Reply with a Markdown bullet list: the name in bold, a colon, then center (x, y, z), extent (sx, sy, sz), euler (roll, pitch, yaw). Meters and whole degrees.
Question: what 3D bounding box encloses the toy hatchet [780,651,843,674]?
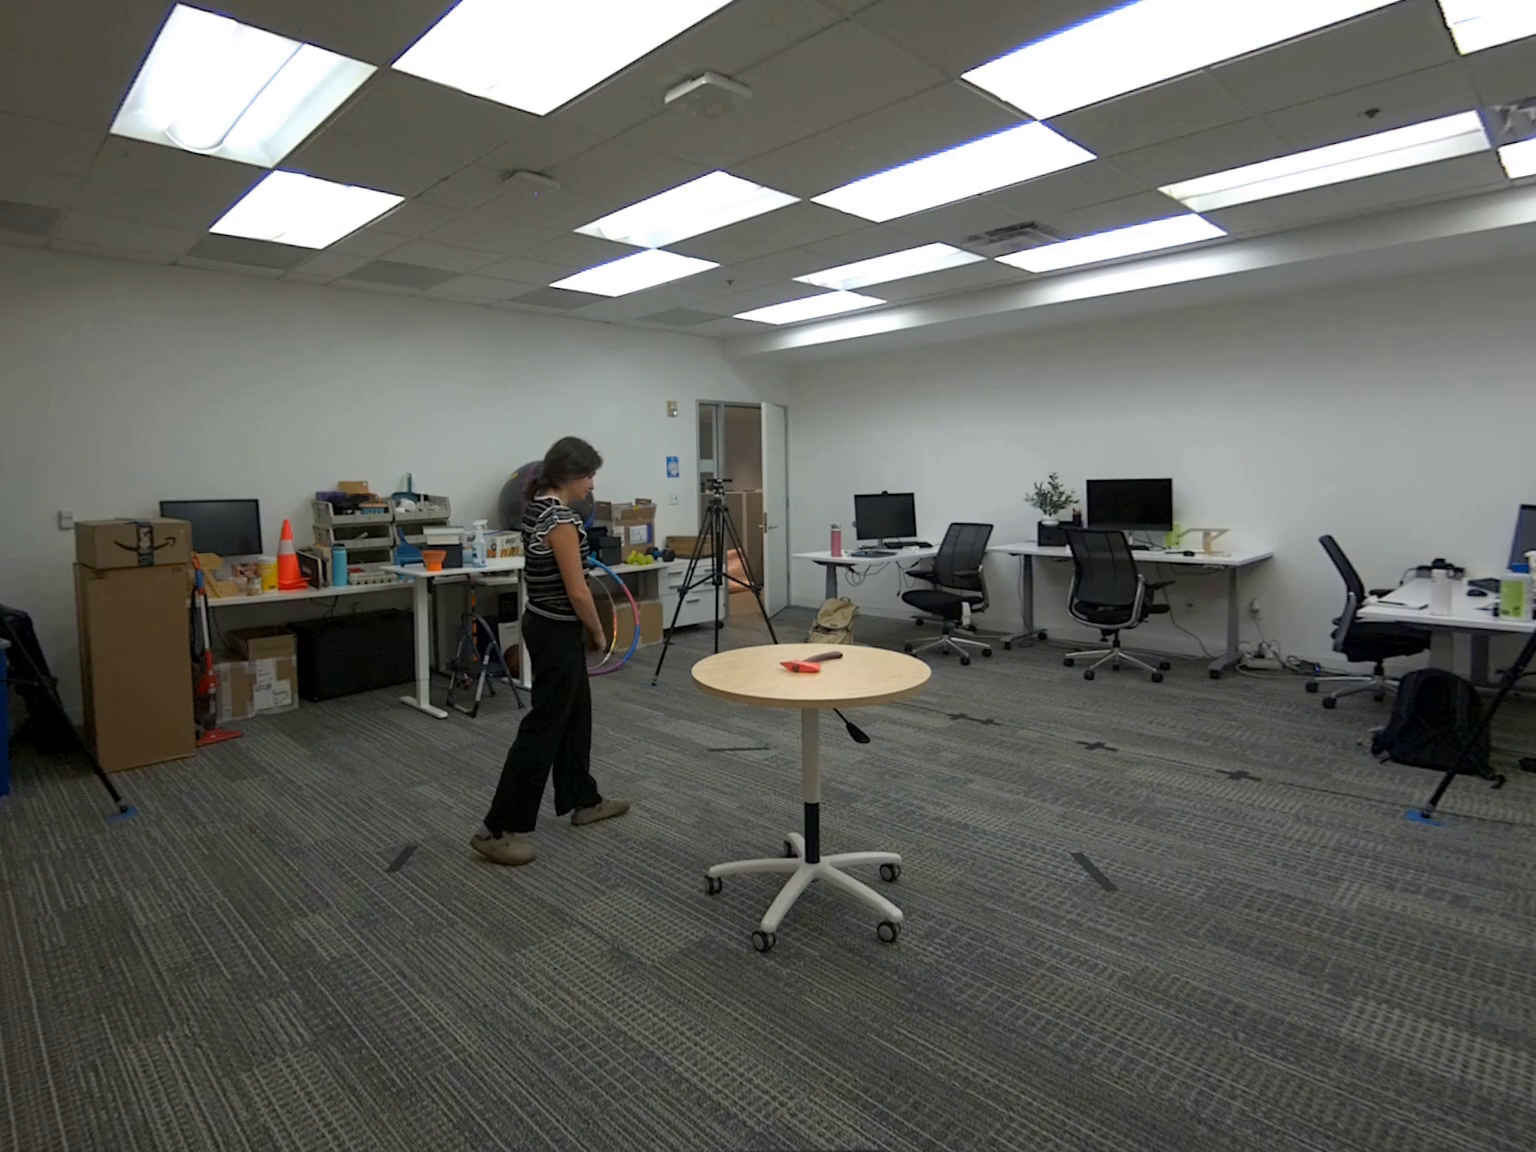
- **toy hatchet**: center (0.182, 0.279, 2.795), extent (0.263, 0.029, 0.135), euler (-6, 10, -41)
